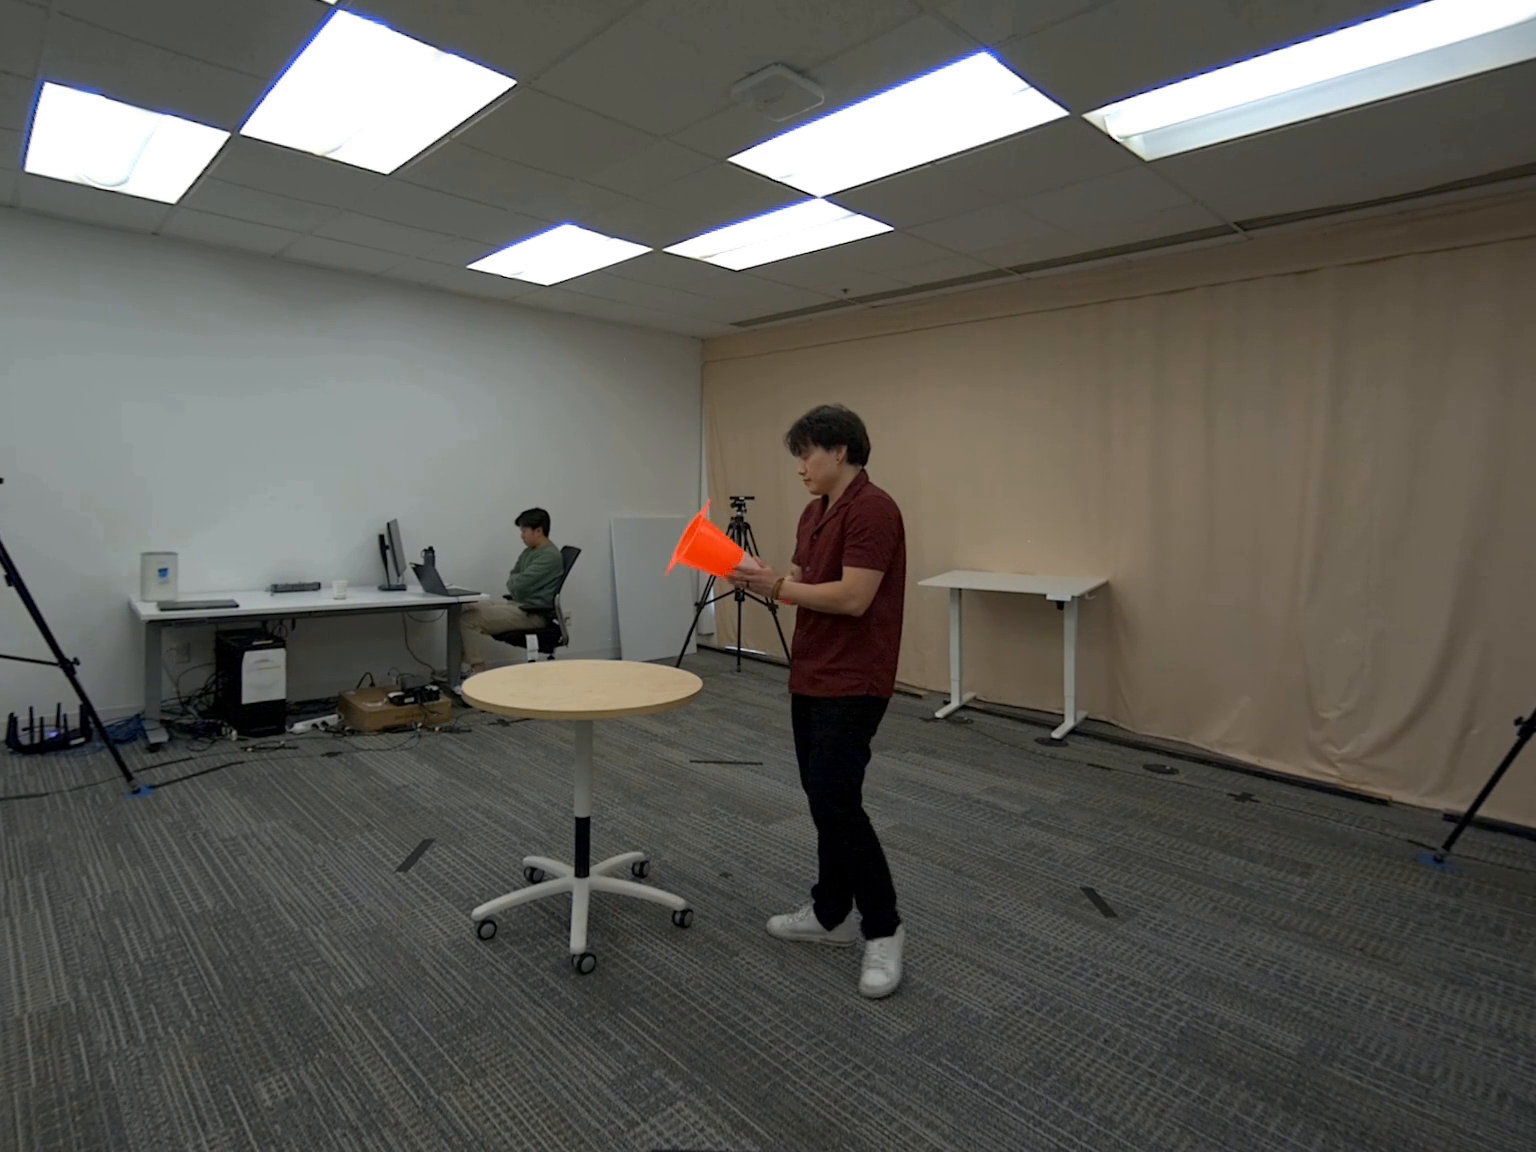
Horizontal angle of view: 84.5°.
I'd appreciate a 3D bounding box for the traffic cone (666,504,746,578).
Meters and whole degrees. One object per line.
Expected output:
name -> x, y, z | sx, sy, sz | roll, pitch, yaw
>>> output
traffic cone -> -0.081, -0.024, 2.533 | 0.379, 0.207, 0.203 | 29, -38, -12
